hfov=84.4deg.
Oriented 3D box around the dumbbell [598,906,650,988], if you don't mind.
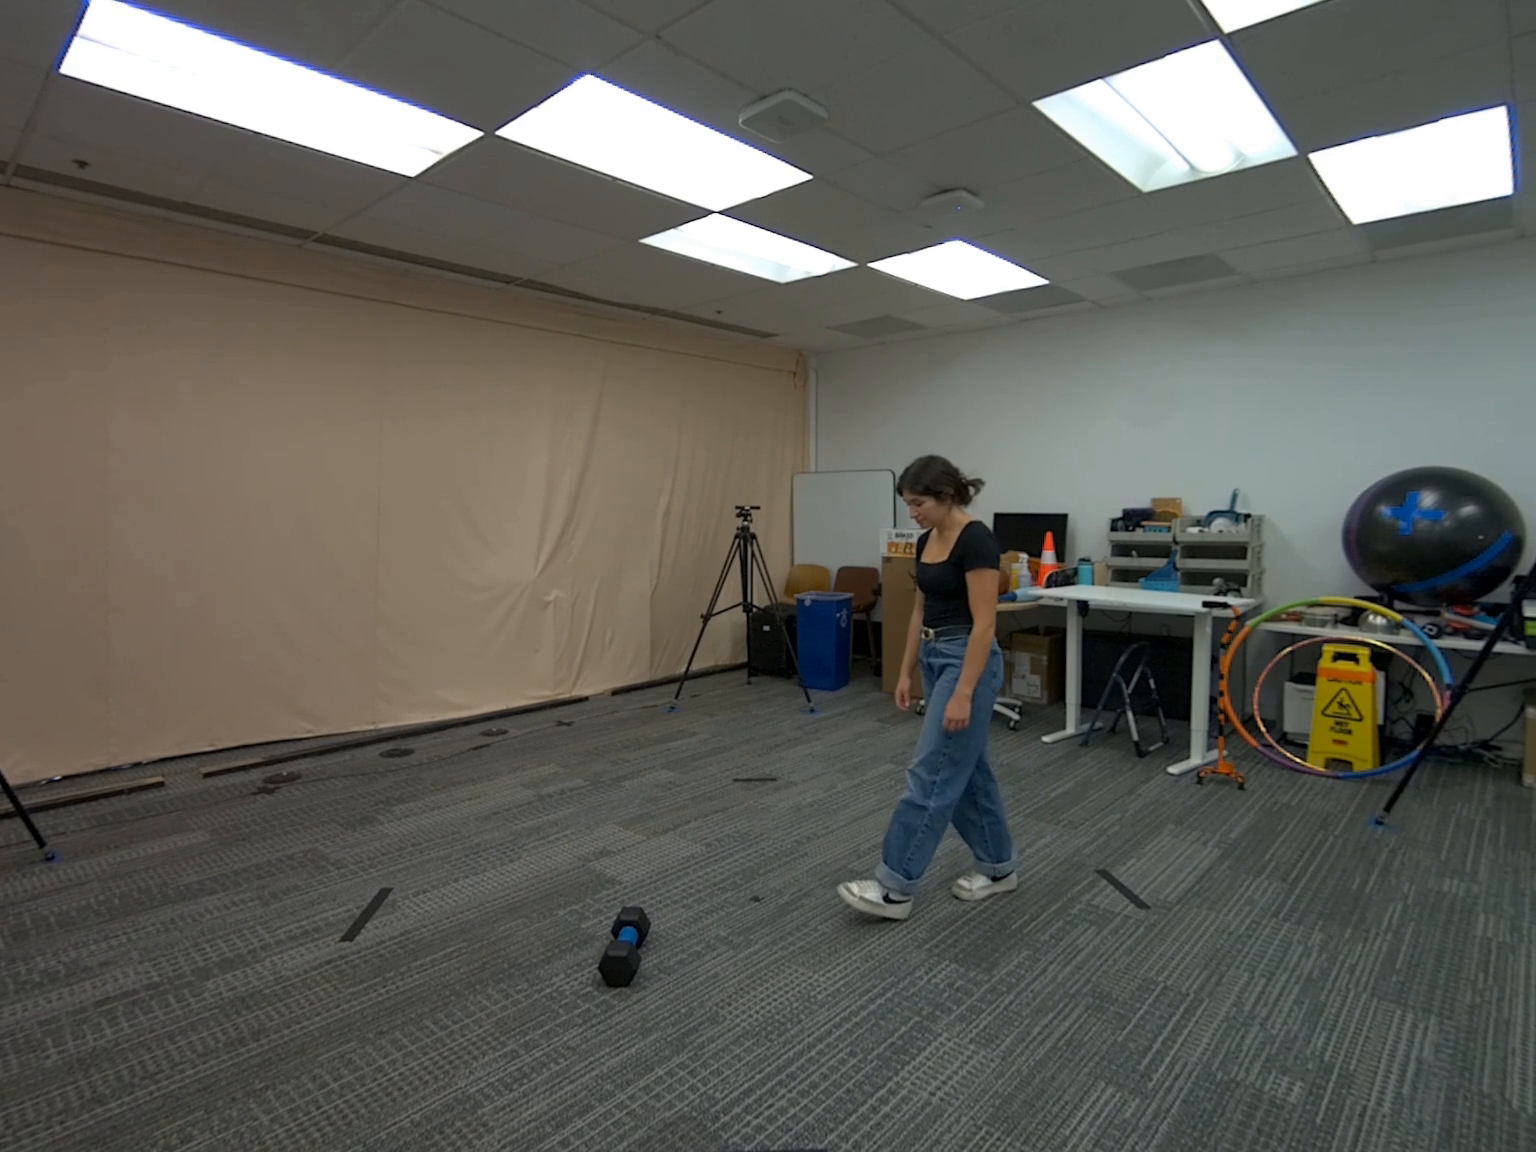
[{"bbox_3d":[-0.438,1.133,2.567,0.109,0.122,0.294,-29,4,0],"label":"dumbbell"}]
